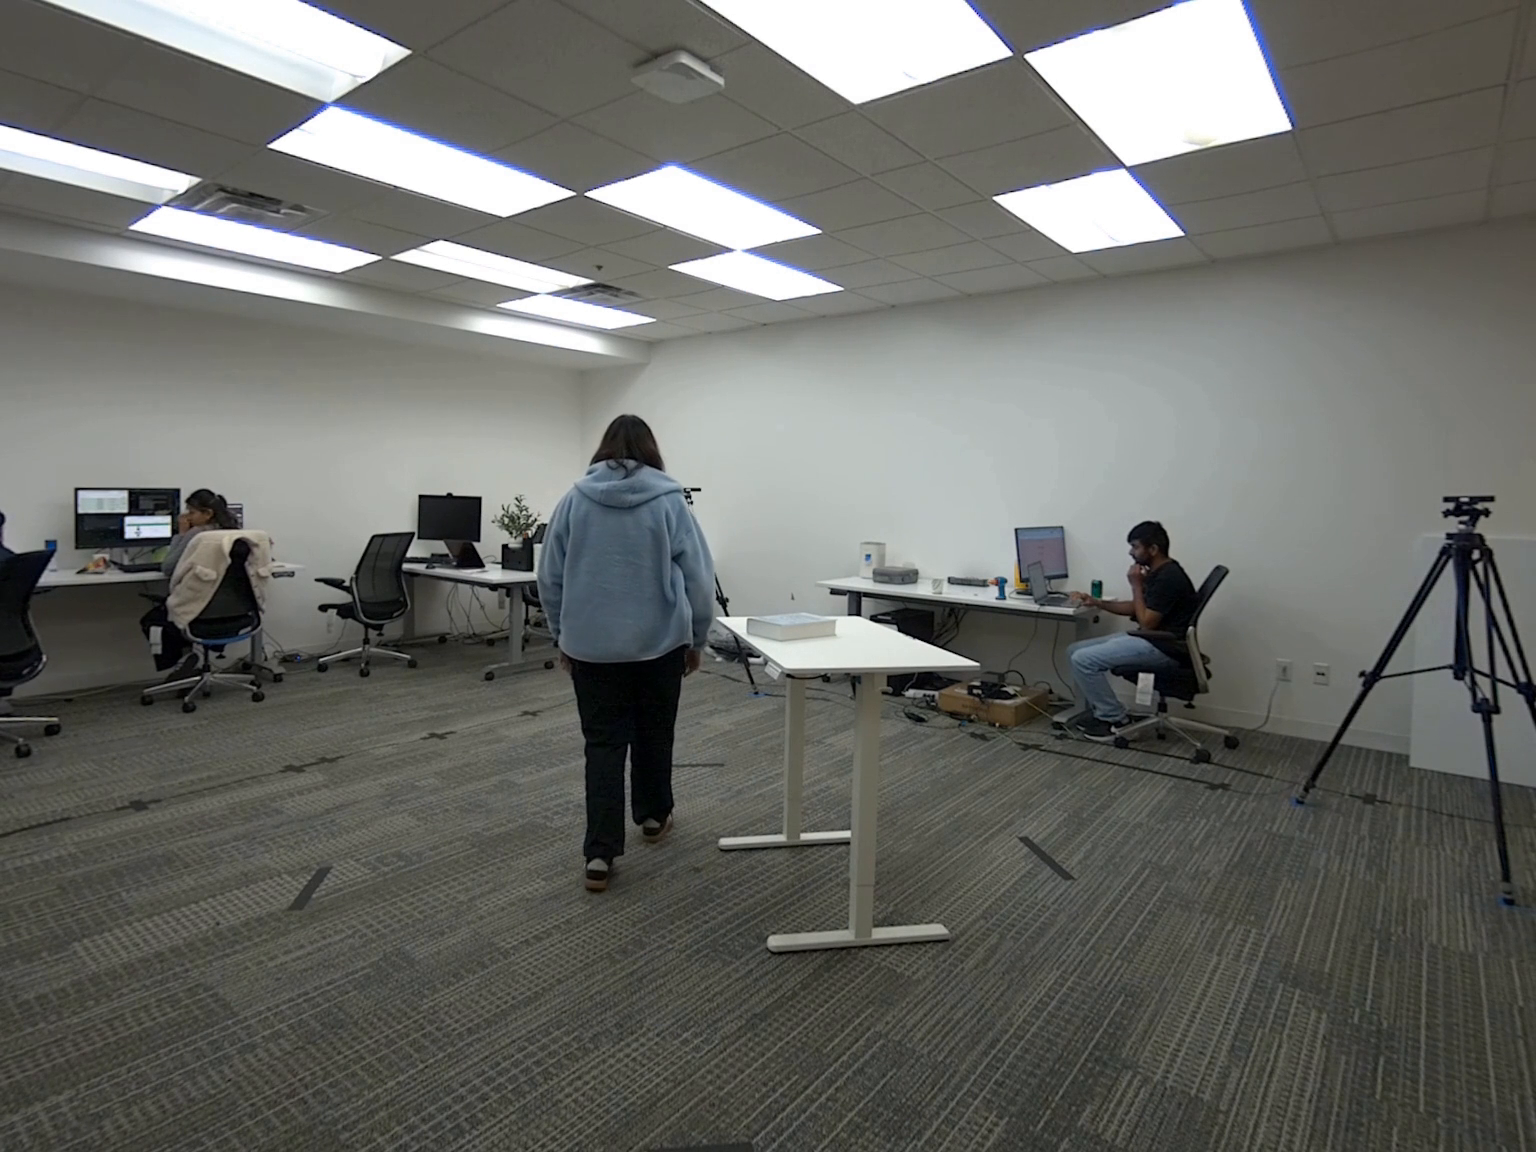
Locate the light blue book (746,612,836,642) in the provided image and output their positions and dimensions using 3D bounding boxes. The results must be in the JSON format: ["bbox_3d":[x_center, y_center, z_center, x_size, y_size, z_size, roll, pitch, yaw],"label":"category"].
[{"bbox_3d":[0.086,0.175,2.990,0.253,0.059,0.198,-4,7,-36],"label":"light blue book"}]
